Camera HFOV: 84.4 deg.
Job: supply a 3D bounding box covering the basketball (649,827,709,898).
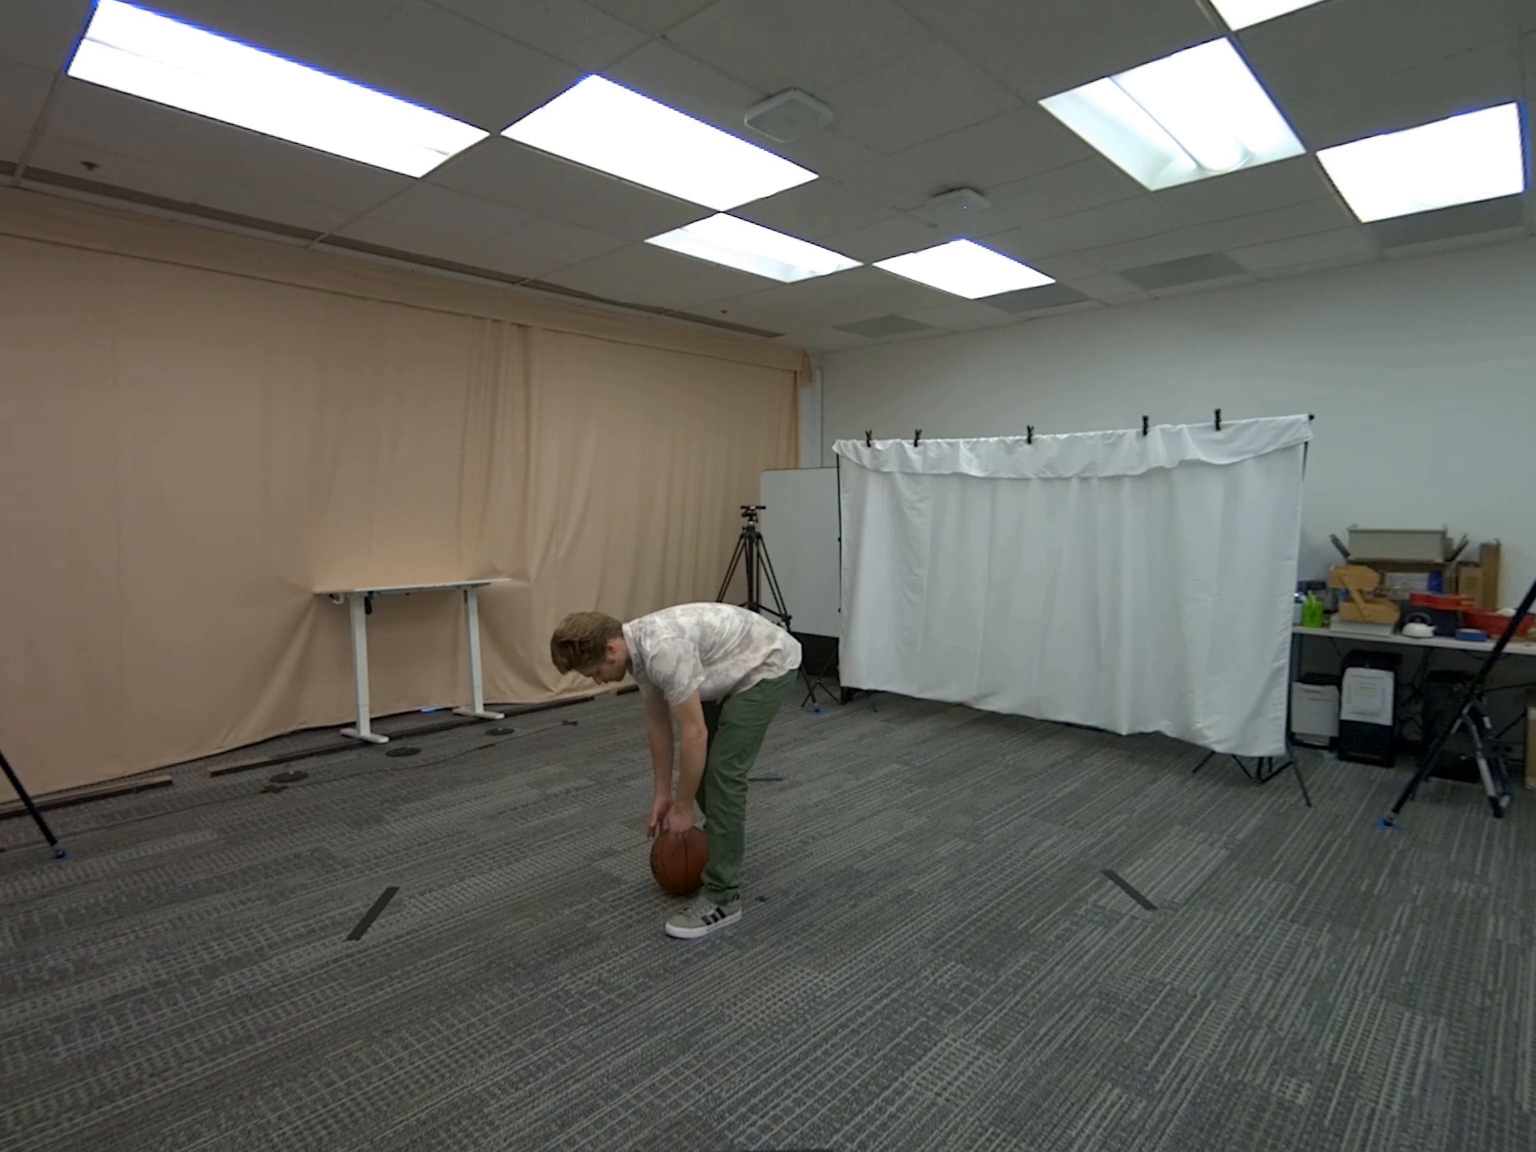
[{"bbox_3d":[-0.305,1.012,3.037,0.236,0.235,0.237,0,4,-2],"label":"basketball"}]
